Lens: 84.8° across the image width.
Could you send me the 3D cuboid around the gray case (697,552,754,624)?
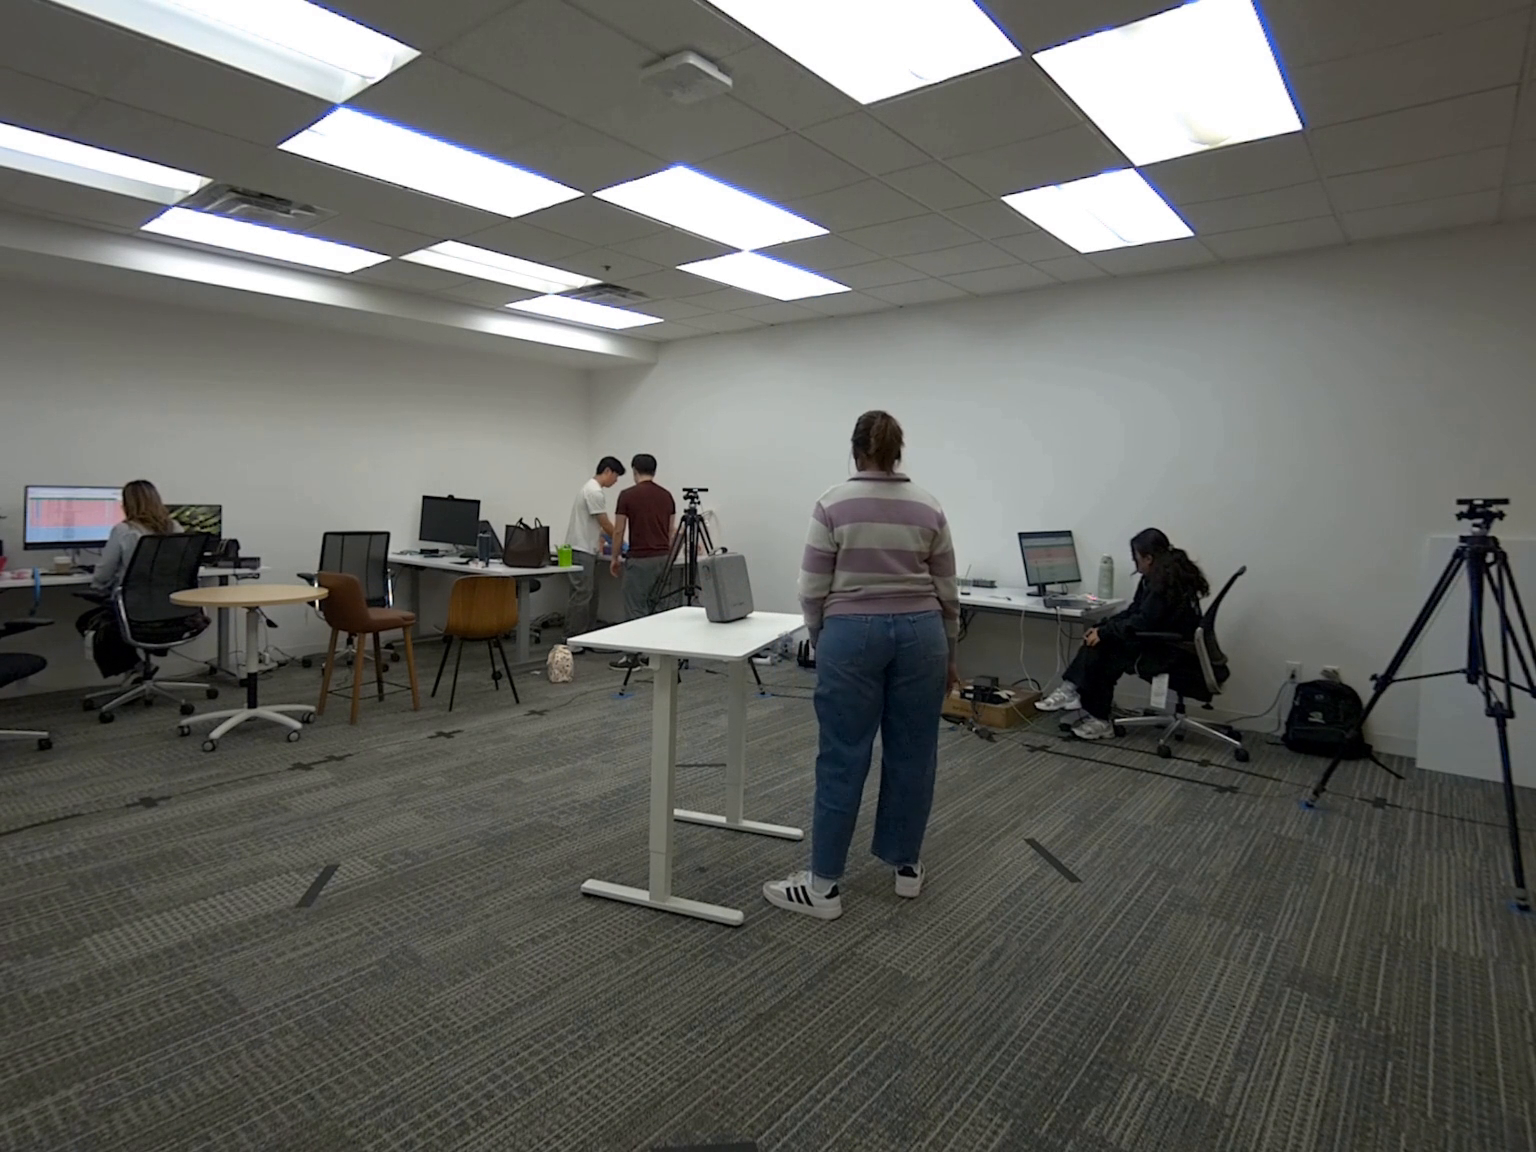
[{"bbox_3d":[-0.174,0.036,3.330,0.106,0.262,0.251,-11,-3,24],"label":"gray case"}]
